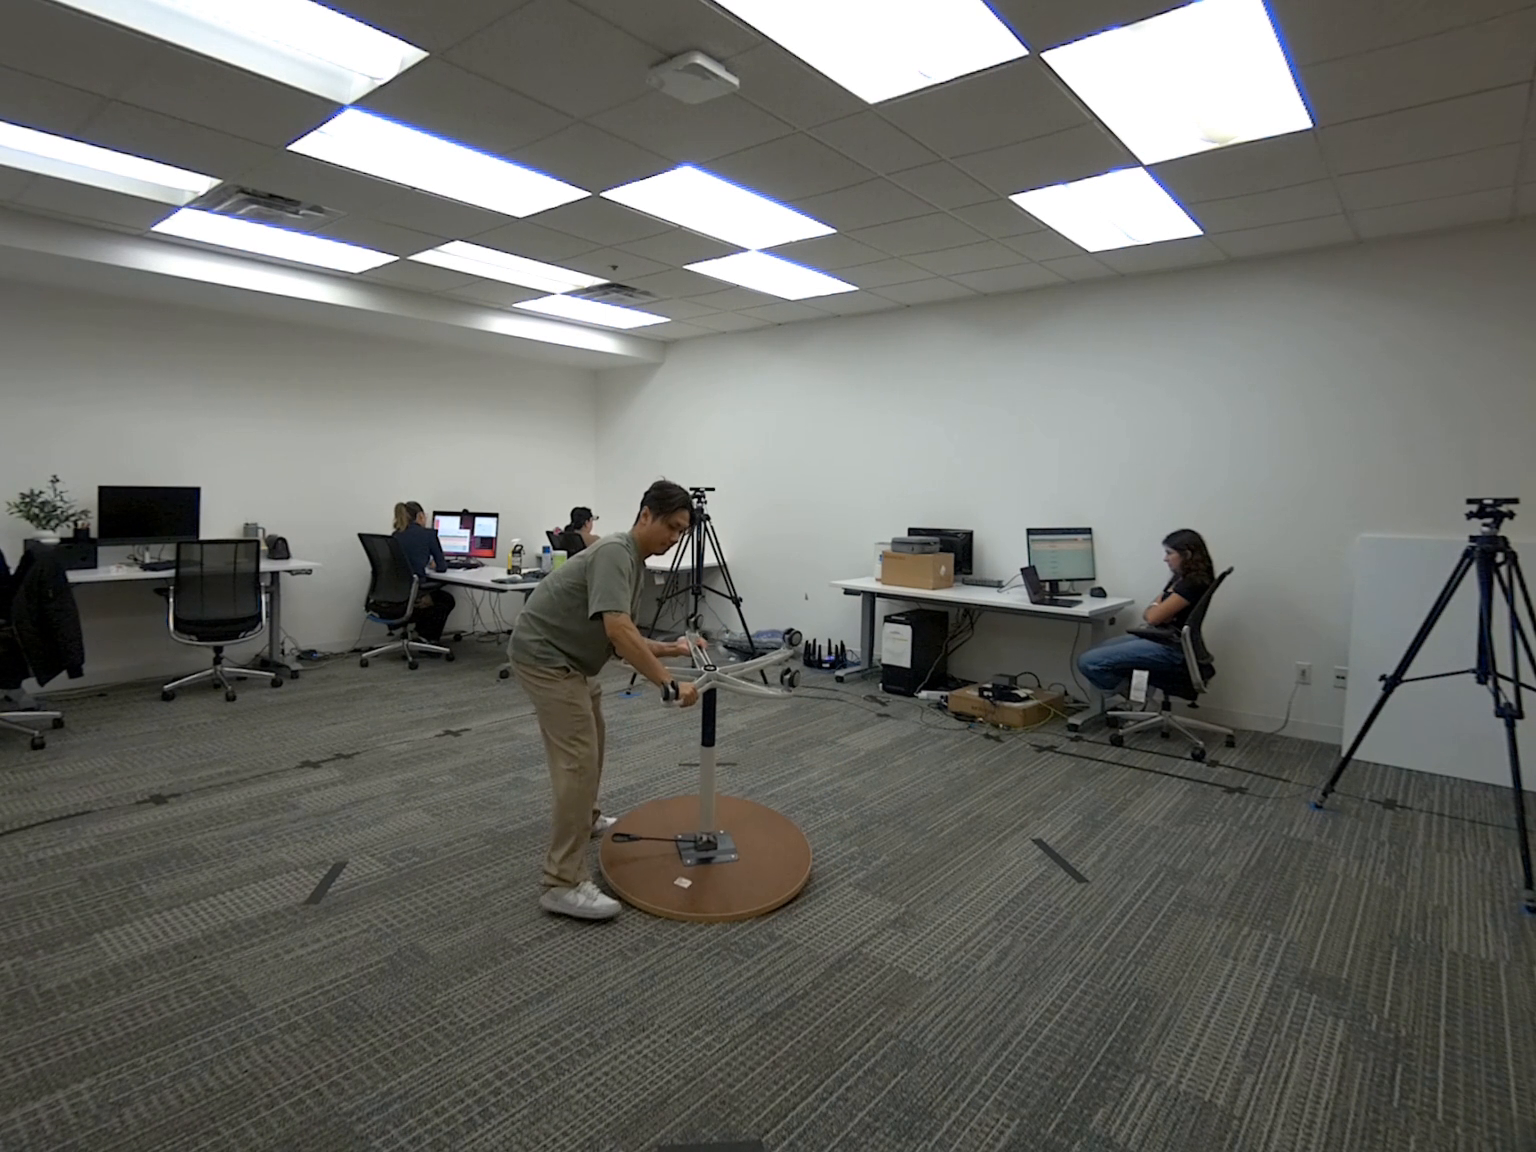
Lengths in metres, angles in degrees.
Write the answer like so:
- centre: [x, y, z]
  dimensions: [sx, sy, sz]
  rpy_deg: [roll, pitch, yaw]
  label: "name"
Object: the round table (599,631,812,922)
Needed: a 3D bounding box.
- centre: [-0.210, 0.626, 3.005]
  dimensions: [0.784, 0.778, 0.795]
  rpy_deg: [1, 12, -2]
  label: "round table"
